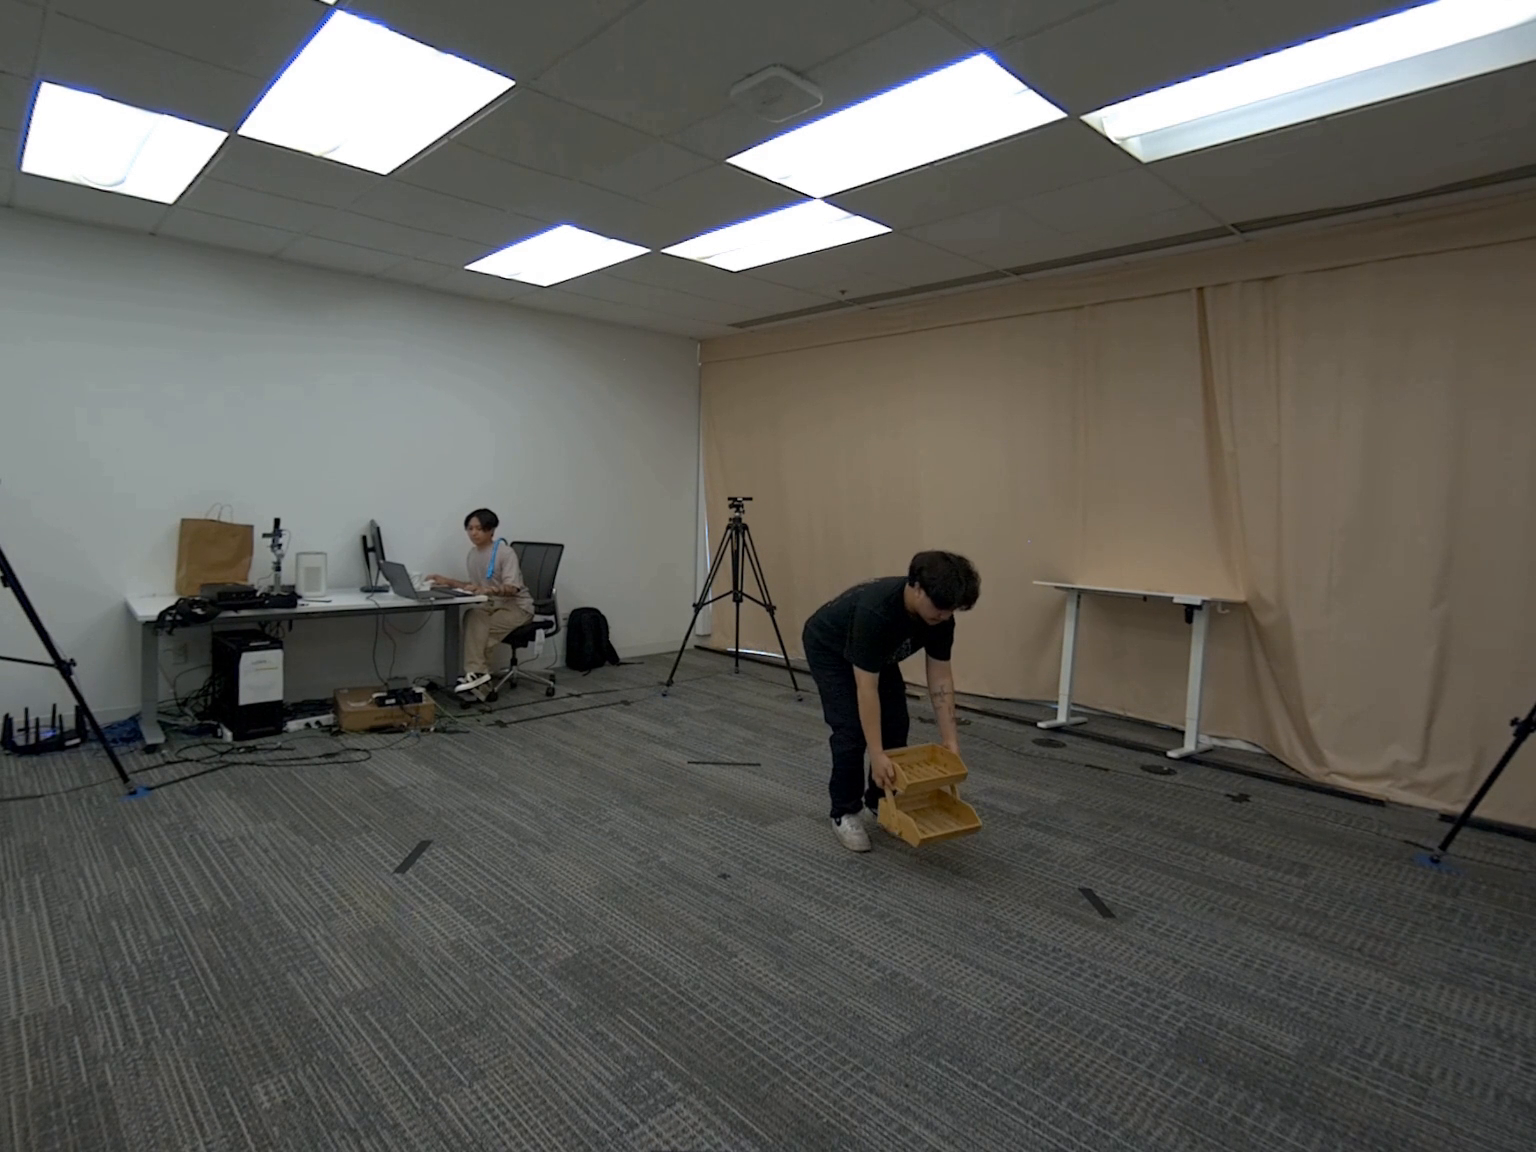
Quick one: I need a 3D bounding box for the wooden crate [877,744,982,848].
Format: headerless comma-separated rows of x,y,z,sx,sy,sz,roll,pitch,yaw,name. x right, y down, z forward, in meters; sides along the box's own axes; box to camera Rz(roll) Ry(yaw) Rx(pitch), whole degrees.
0.600,0.826,3.225,0.318,0.272,0.310,-2,10,-30,wooden crate
